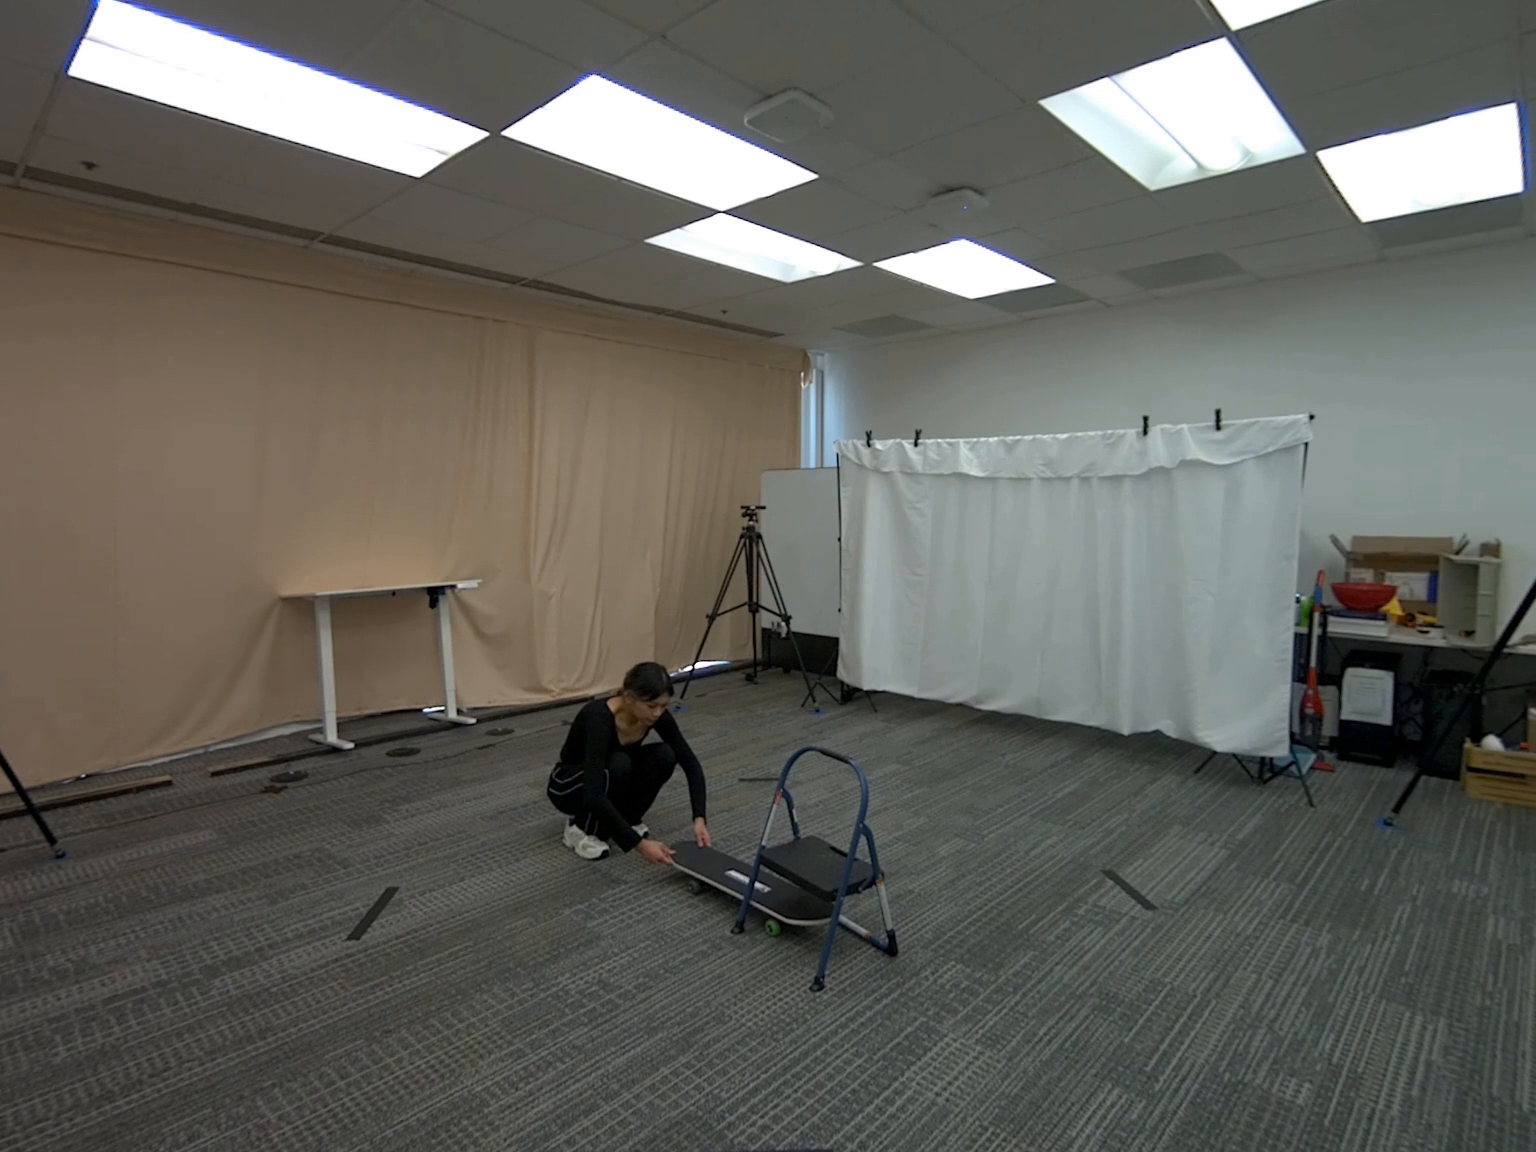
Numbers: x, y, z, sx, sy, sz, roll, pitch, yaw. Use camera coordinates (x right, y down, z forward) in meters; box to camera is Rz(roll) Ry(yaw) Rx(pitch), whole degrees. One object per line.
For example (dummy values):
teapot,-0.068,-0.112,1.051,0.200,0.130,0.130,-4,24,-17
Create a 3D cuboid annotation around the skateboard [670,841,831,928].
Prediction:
skateboard,-0.070,1.084,2.933,0.187,0.110,0.812,-4,5,-43
